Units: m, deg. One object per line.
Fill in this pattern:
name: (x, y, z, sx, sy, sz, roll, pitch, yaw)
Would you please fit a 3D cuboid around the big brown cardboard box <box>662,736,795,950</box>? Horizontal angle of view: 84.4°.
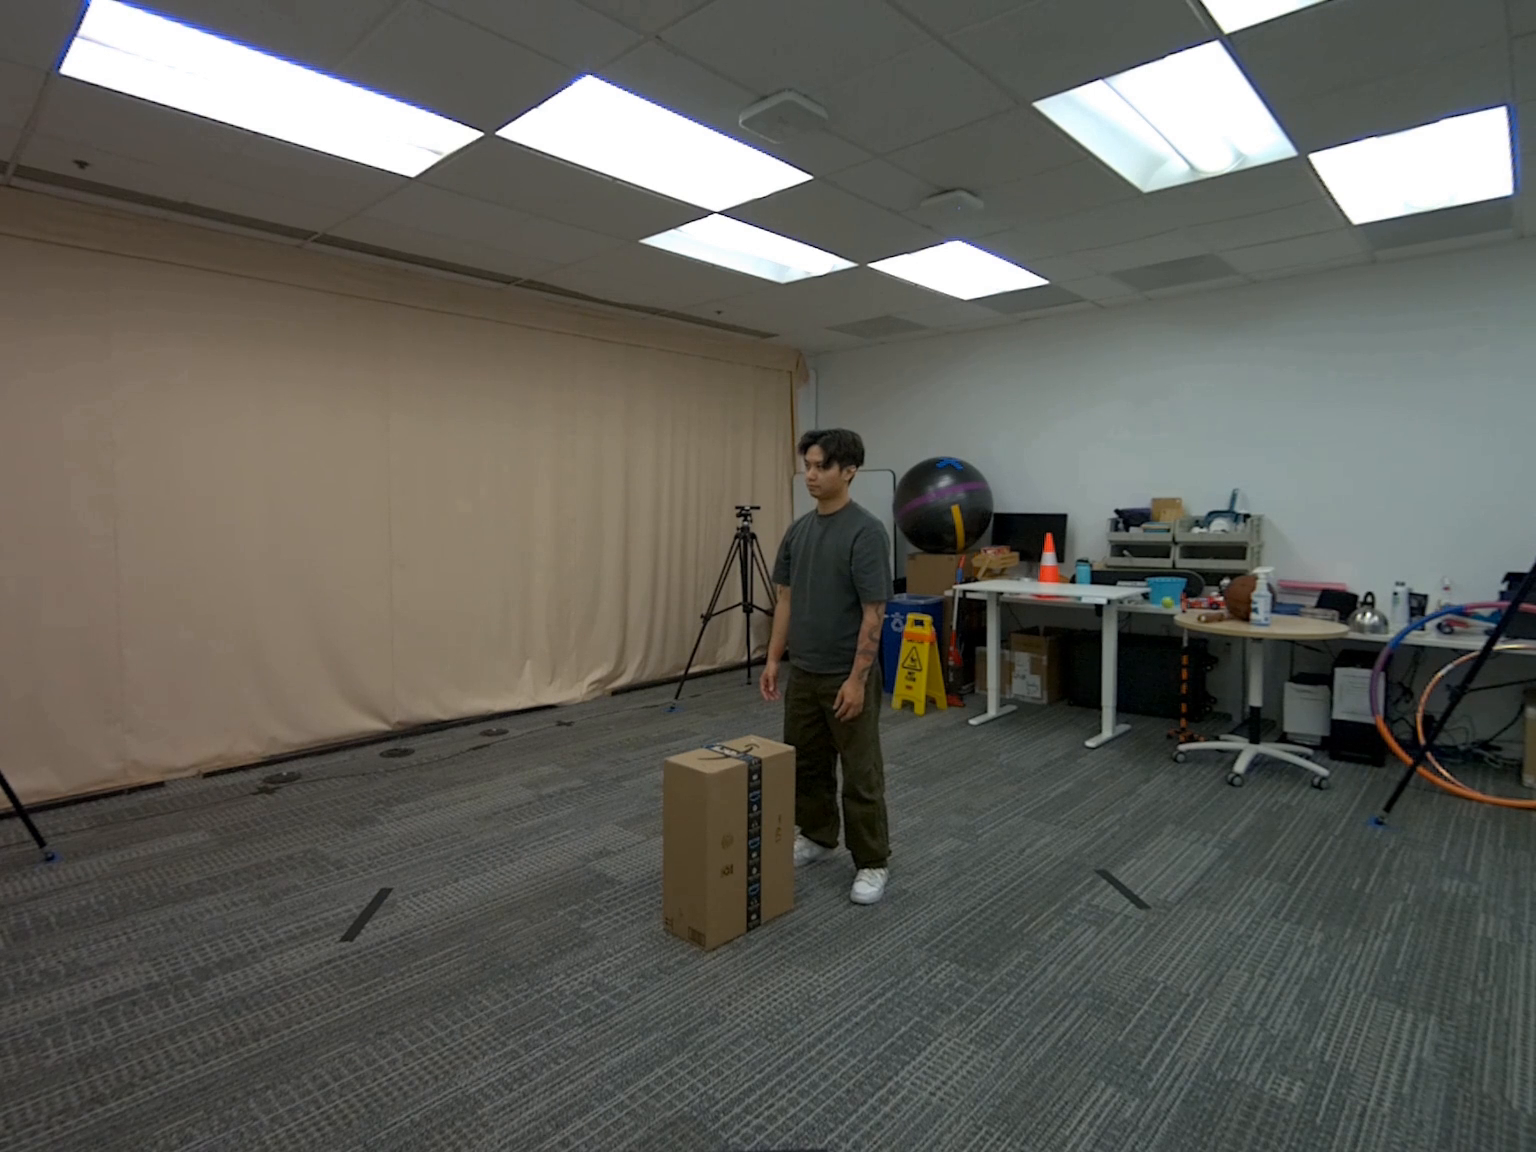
big brown cardboard box: (-0.127, 0.871, 2.829, 0.241, 0.588, 0.404, 2, 2, 45)
